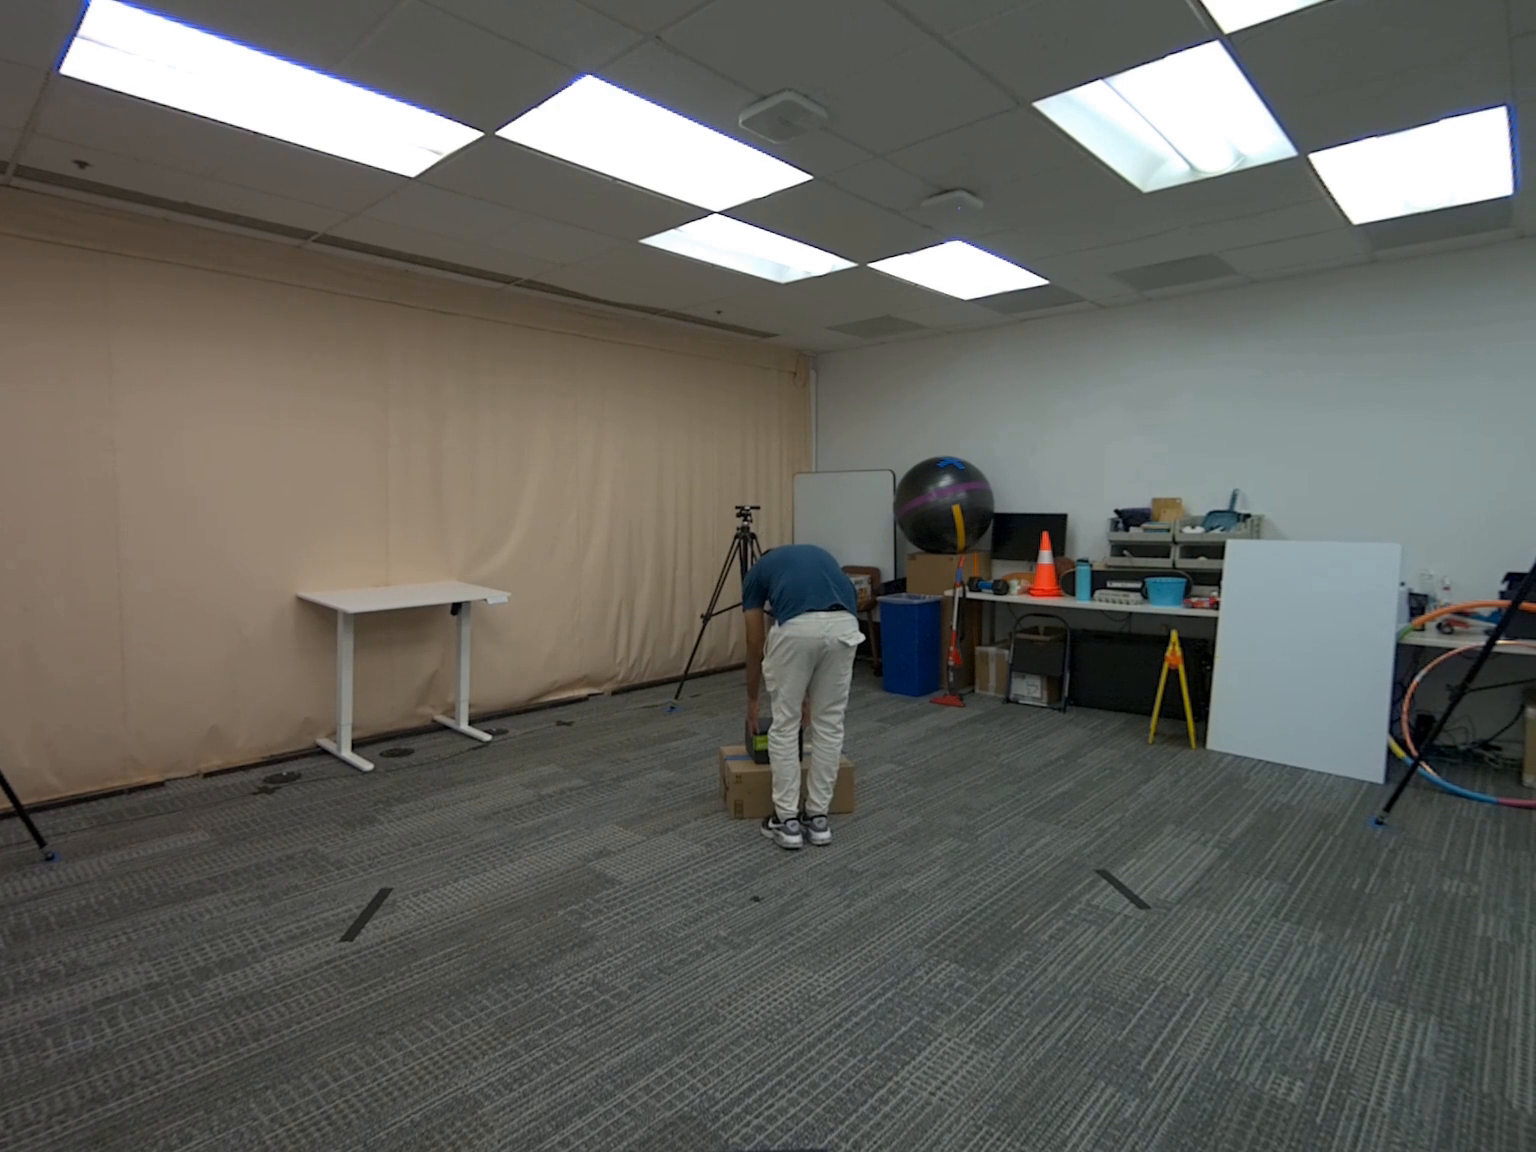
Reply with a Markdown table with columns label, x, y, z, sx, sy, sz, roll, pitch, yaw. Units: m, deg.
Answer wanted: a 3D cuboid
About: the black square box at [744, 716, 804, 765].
| label | x | y | z | sx | sy | sz | roll | pitch | yaw |
| --- | --- | --- | --- | --- | --- | --- | --- | --- | --- |
| black square box | 0.025 | 0.762 | 3.958 | 0.225 | 0.155 | 0.220 | -2 | 5 | -12 |
